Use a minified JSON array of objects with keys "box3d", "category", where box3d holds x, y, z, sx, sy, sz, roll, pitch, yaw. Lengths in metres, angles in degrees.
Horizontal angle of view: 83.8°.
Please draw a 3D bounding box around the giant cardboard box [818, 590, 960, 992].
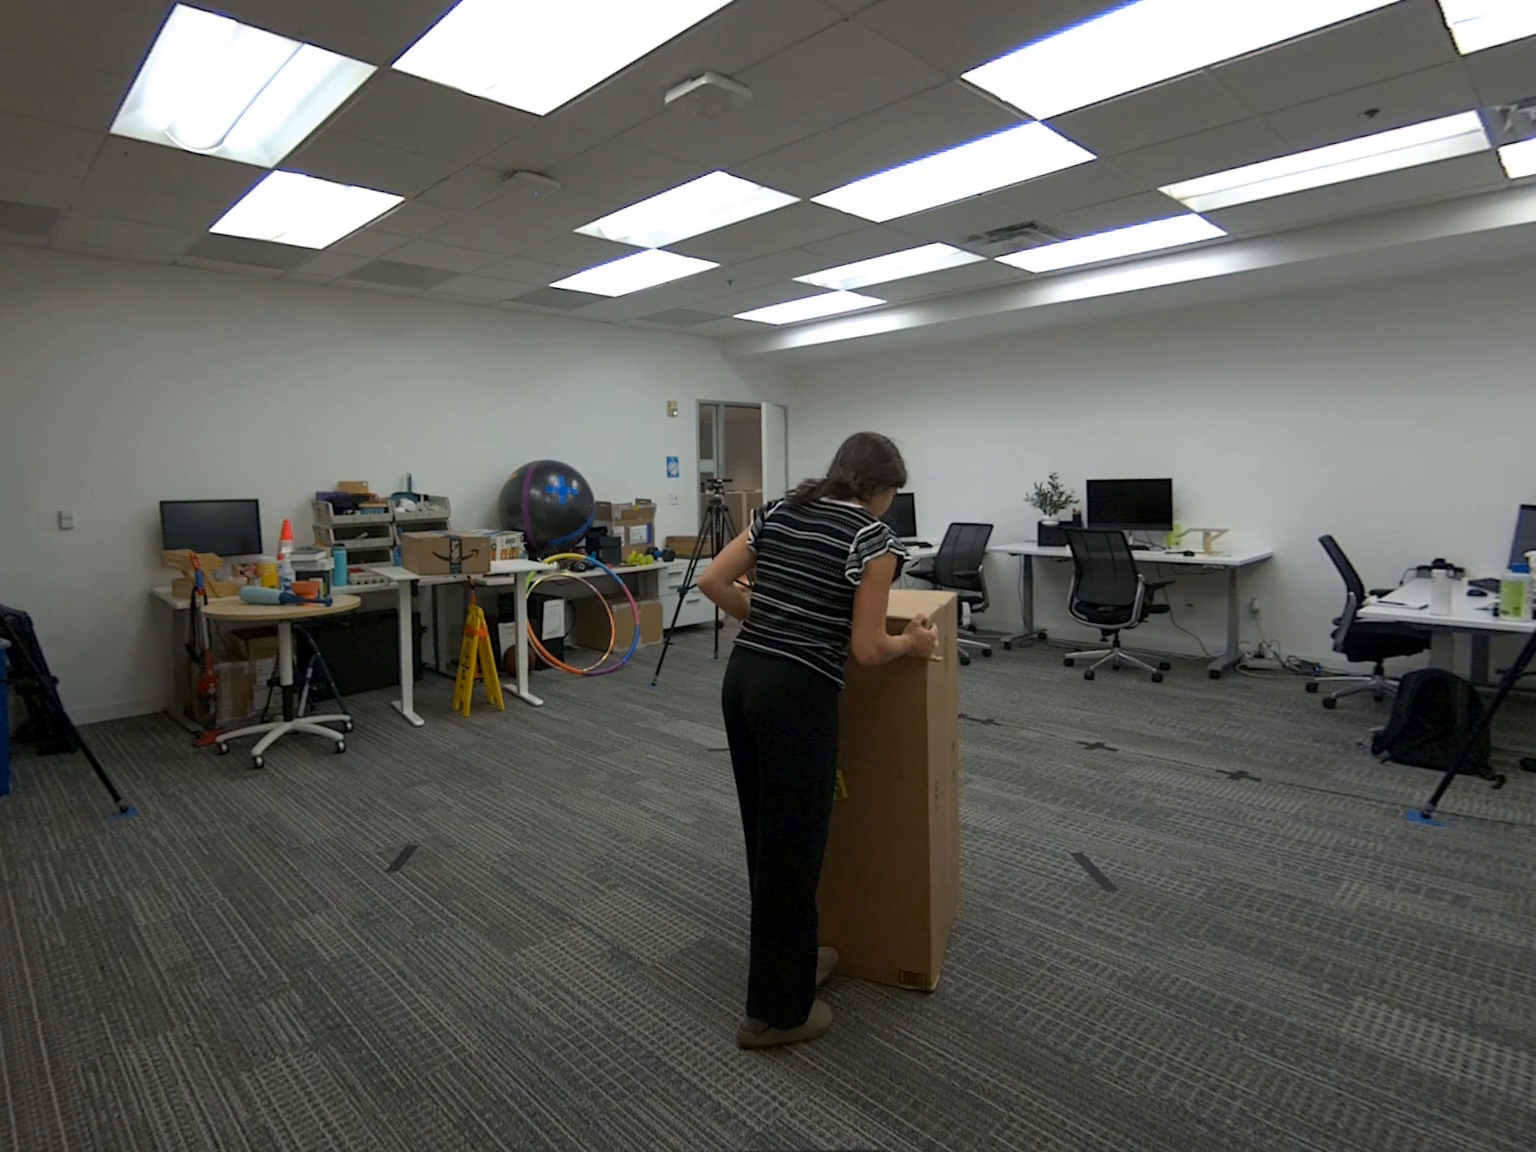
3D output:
[{"box3d":[0.337,0.587,2.621,0.435,1.023,0.567,0,4,22],"category":"giant cardboard box"}]
